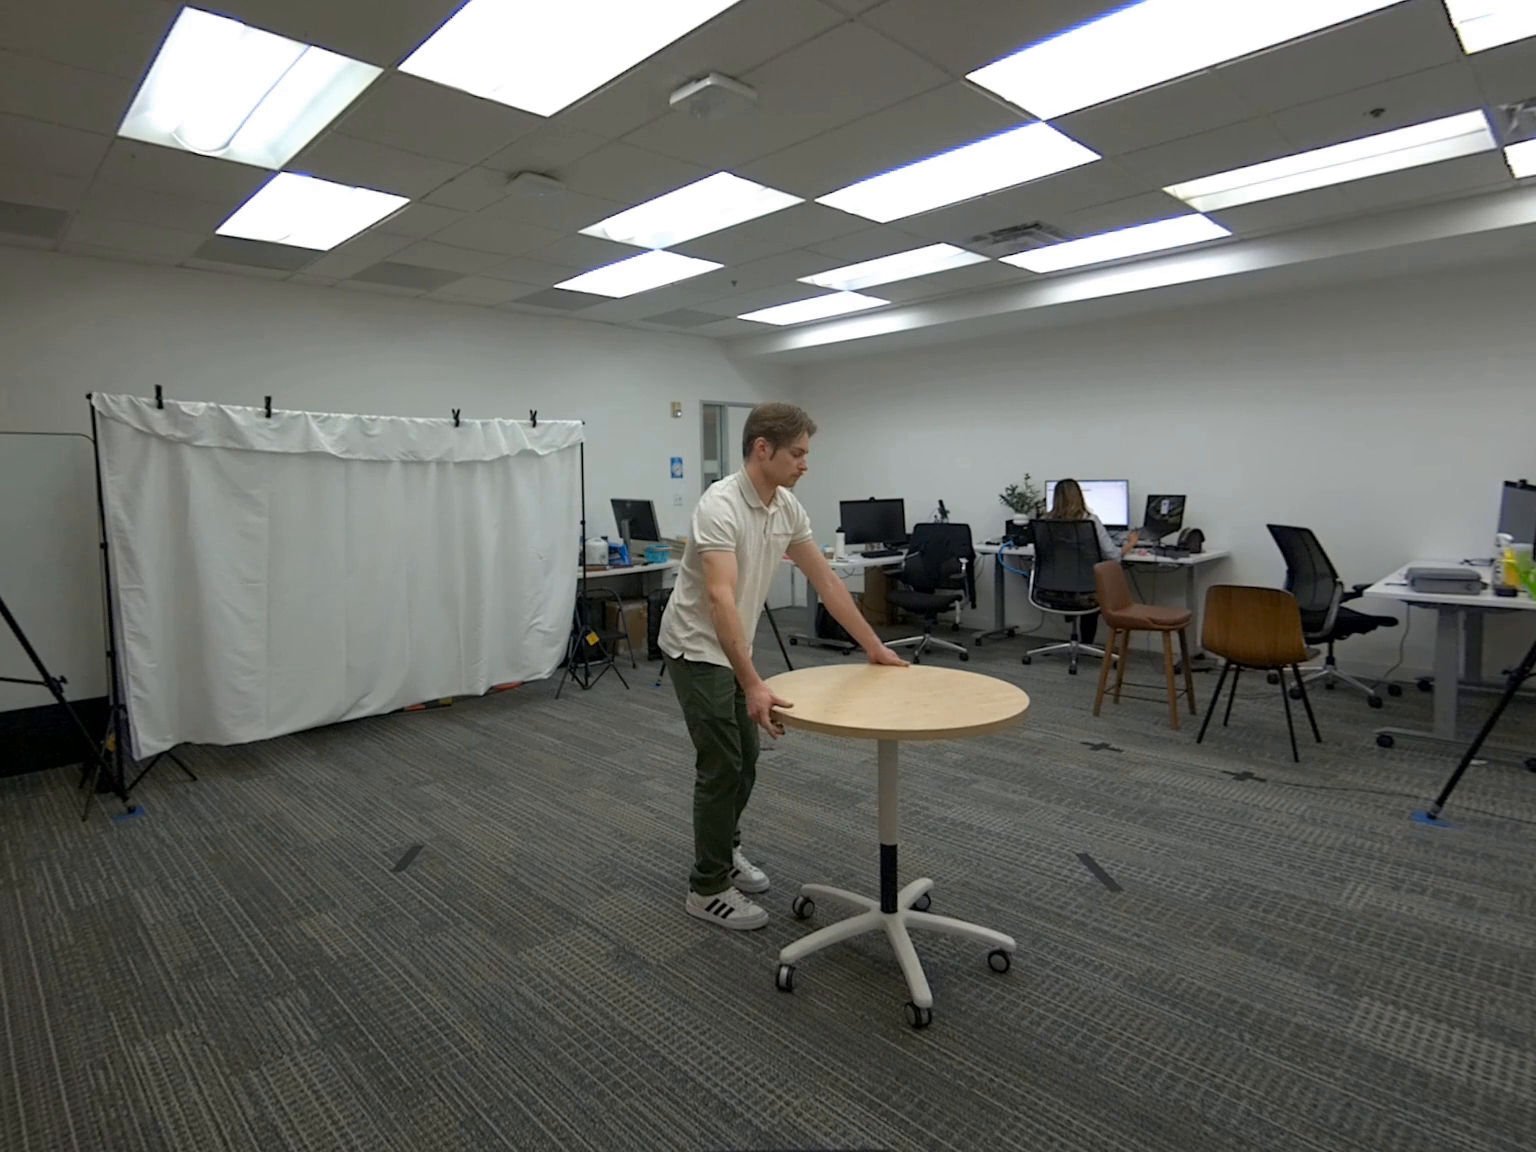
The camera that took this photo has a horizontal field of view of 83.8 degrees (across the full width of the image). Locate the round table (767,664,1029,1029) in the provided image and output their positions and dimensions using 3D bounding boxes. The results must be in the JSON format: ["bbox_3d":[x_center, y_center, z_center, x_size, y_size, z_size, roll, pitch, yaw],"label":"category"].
[{"bbox_3d":[0.347,0.725,2.469,0.763,0.791,0.768,-1,5,-2],"label":"round table"}]
